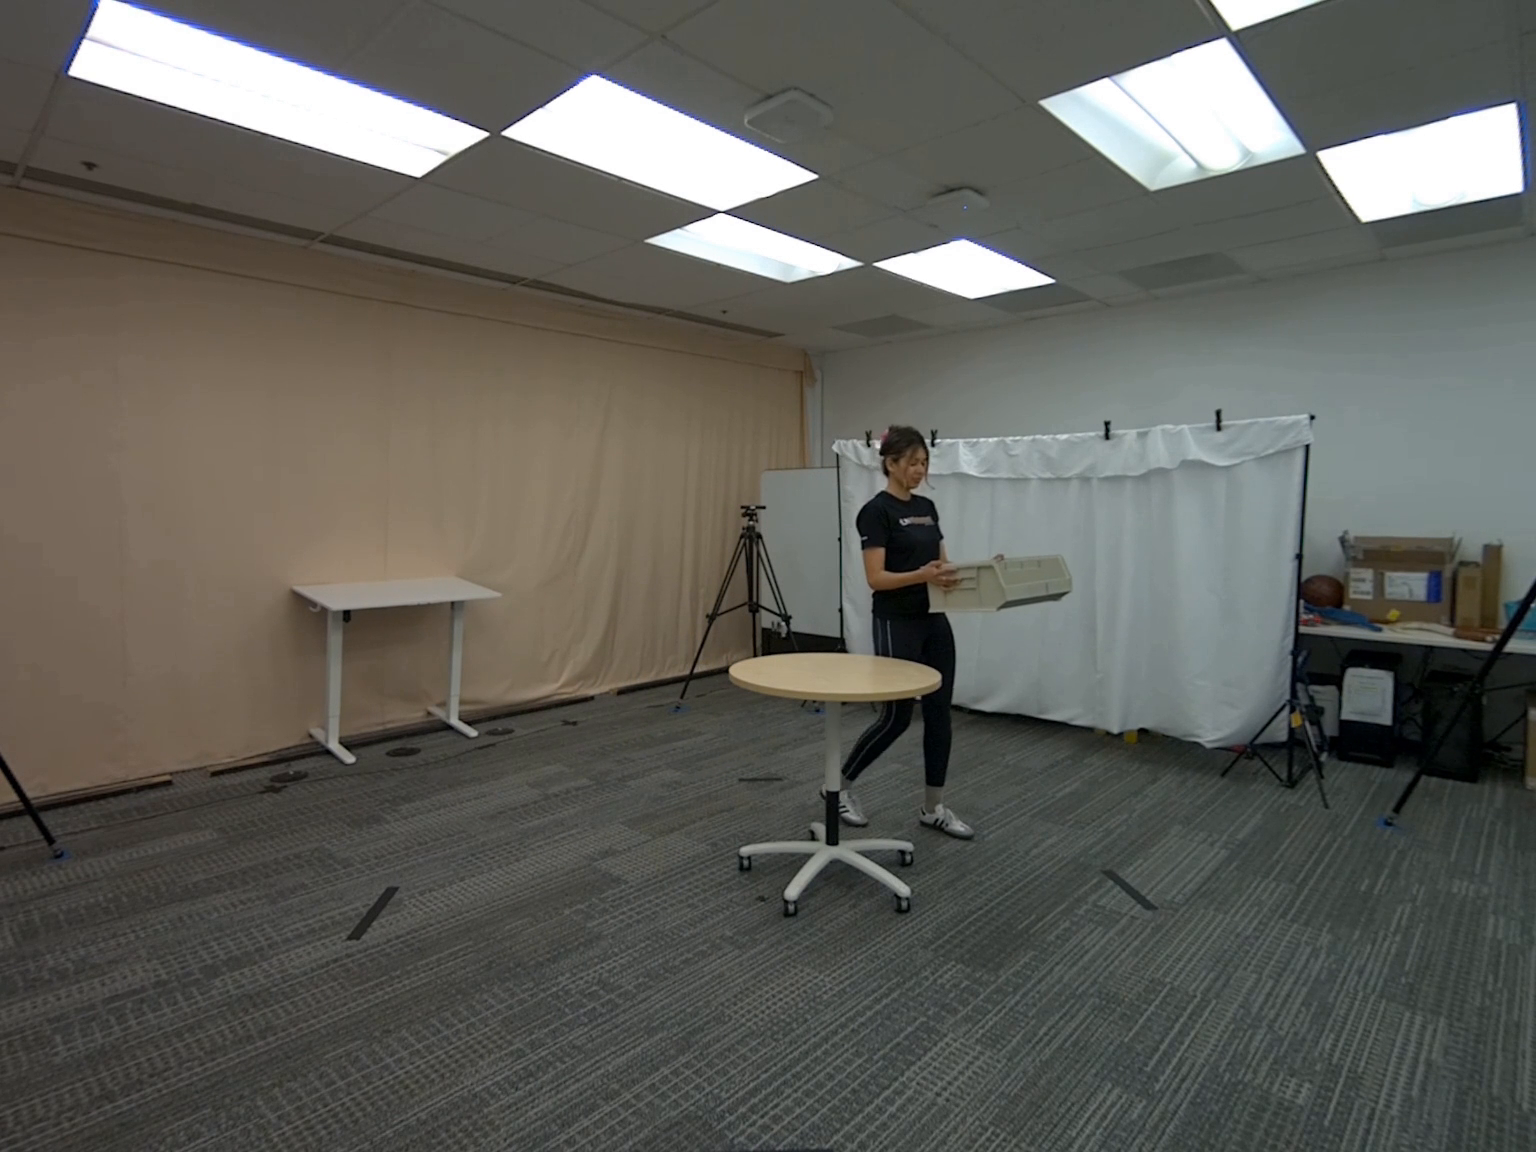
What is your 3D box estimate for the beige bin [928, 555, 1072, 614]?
[{"bbox_3d":[0.888,0.033,3.253,0.410,0.189,0.388,-6,-1,-36],"label":"beige bin"}]
